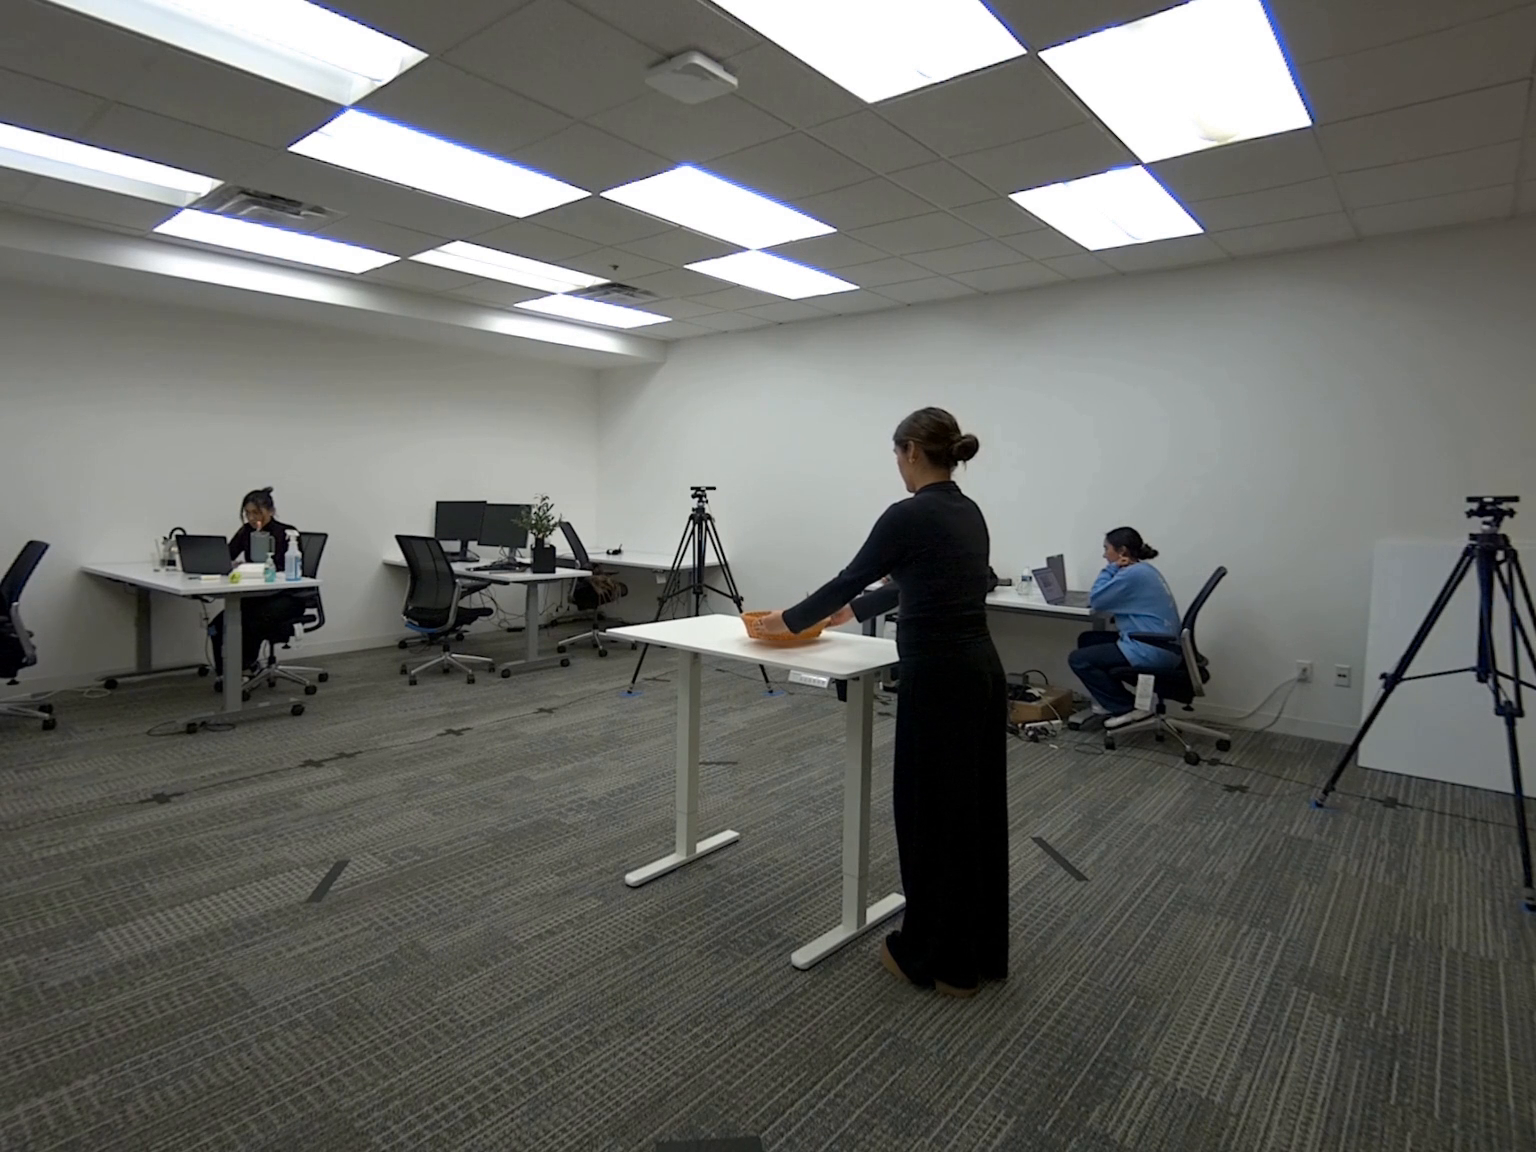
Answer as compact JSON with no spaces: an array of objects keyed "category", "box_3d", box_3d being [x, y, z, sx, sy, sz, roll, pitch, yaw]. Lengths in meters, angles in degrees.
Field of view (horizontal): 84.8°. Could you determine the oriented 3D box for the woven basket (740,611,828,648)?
[{"category":"woven basket","box_3d":[0.056,0.170,2.835,0.261,0.073,0.339,7,6,41]}]
